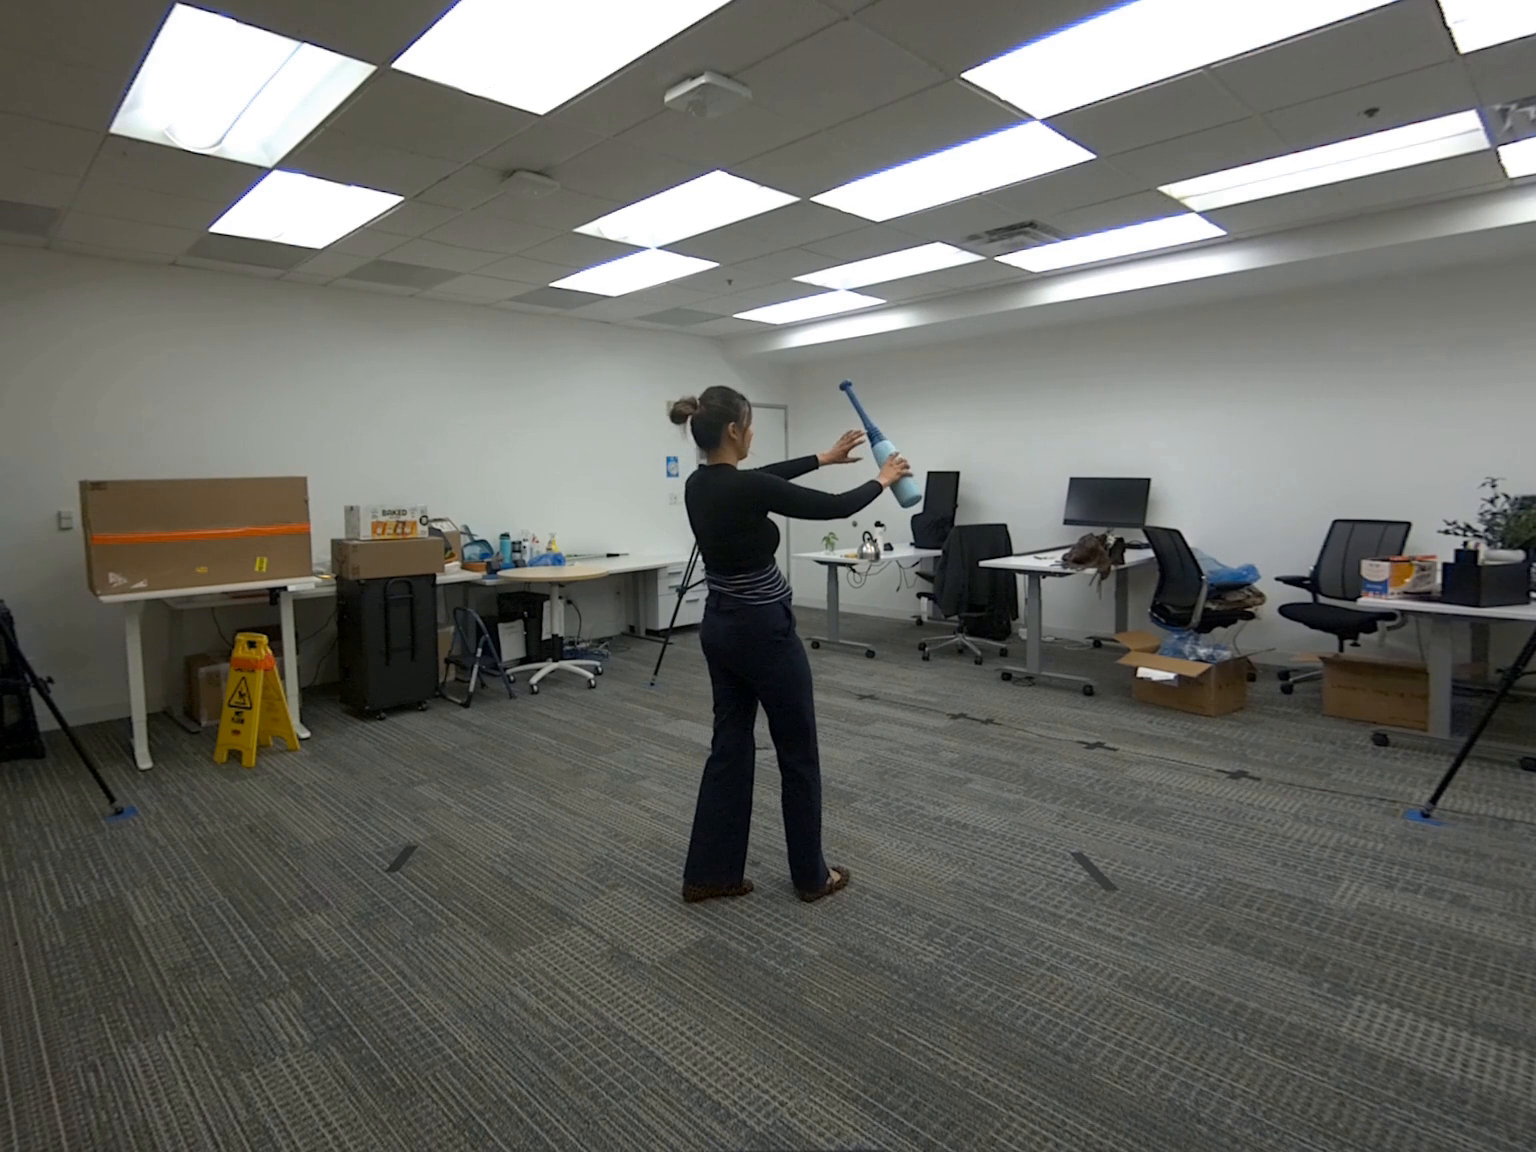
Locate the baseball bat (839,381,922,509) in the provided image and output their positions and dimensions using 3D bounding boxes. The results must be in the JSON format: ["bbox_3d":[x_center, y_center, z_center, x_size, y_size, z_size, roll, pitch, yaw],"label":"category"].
[{"bbox_3d":[0.392,-0.485,3.068,0.088,0.557,0.087,-21,-22,-10],"label":"baseball bat"}]
